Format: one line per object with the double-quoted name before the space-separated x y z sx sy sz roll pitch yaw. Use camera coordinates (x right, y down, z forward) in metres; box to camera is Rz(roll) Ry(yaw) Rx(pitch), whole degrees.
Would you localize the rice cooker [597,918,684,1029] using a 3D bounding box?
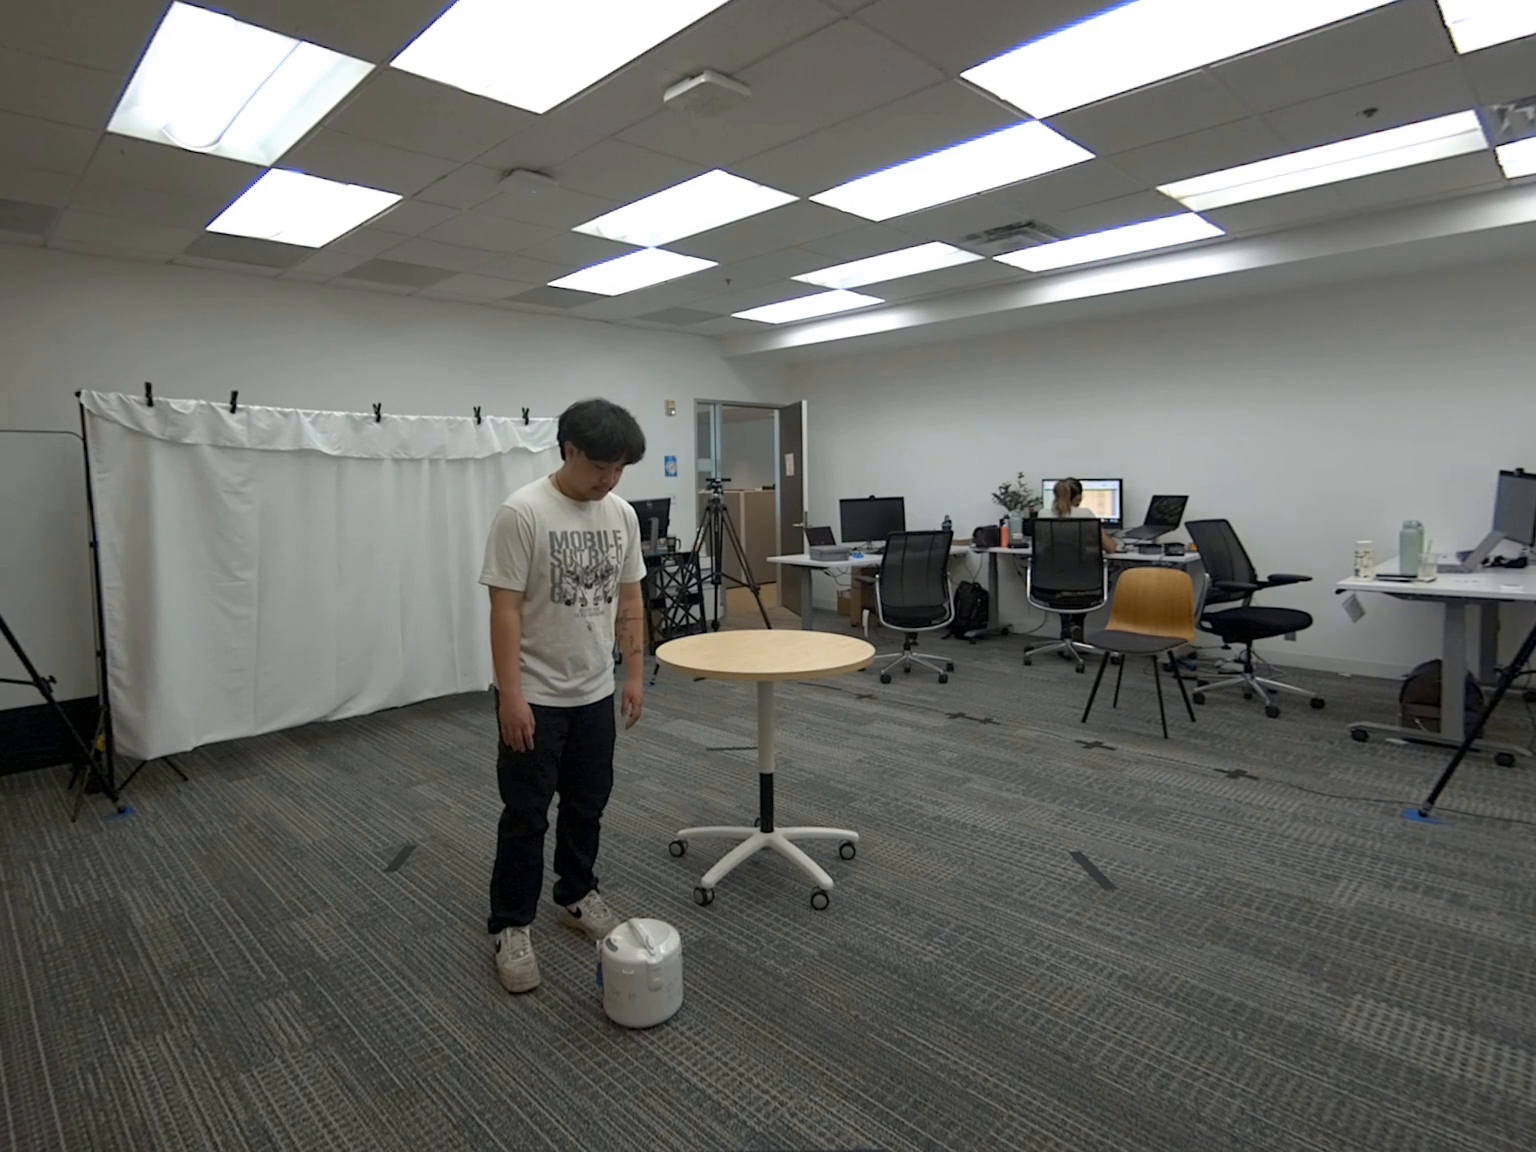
"rice cooker" -0.324 1.034 2.256 0.213 0.232 0.226 -4 6 -25
